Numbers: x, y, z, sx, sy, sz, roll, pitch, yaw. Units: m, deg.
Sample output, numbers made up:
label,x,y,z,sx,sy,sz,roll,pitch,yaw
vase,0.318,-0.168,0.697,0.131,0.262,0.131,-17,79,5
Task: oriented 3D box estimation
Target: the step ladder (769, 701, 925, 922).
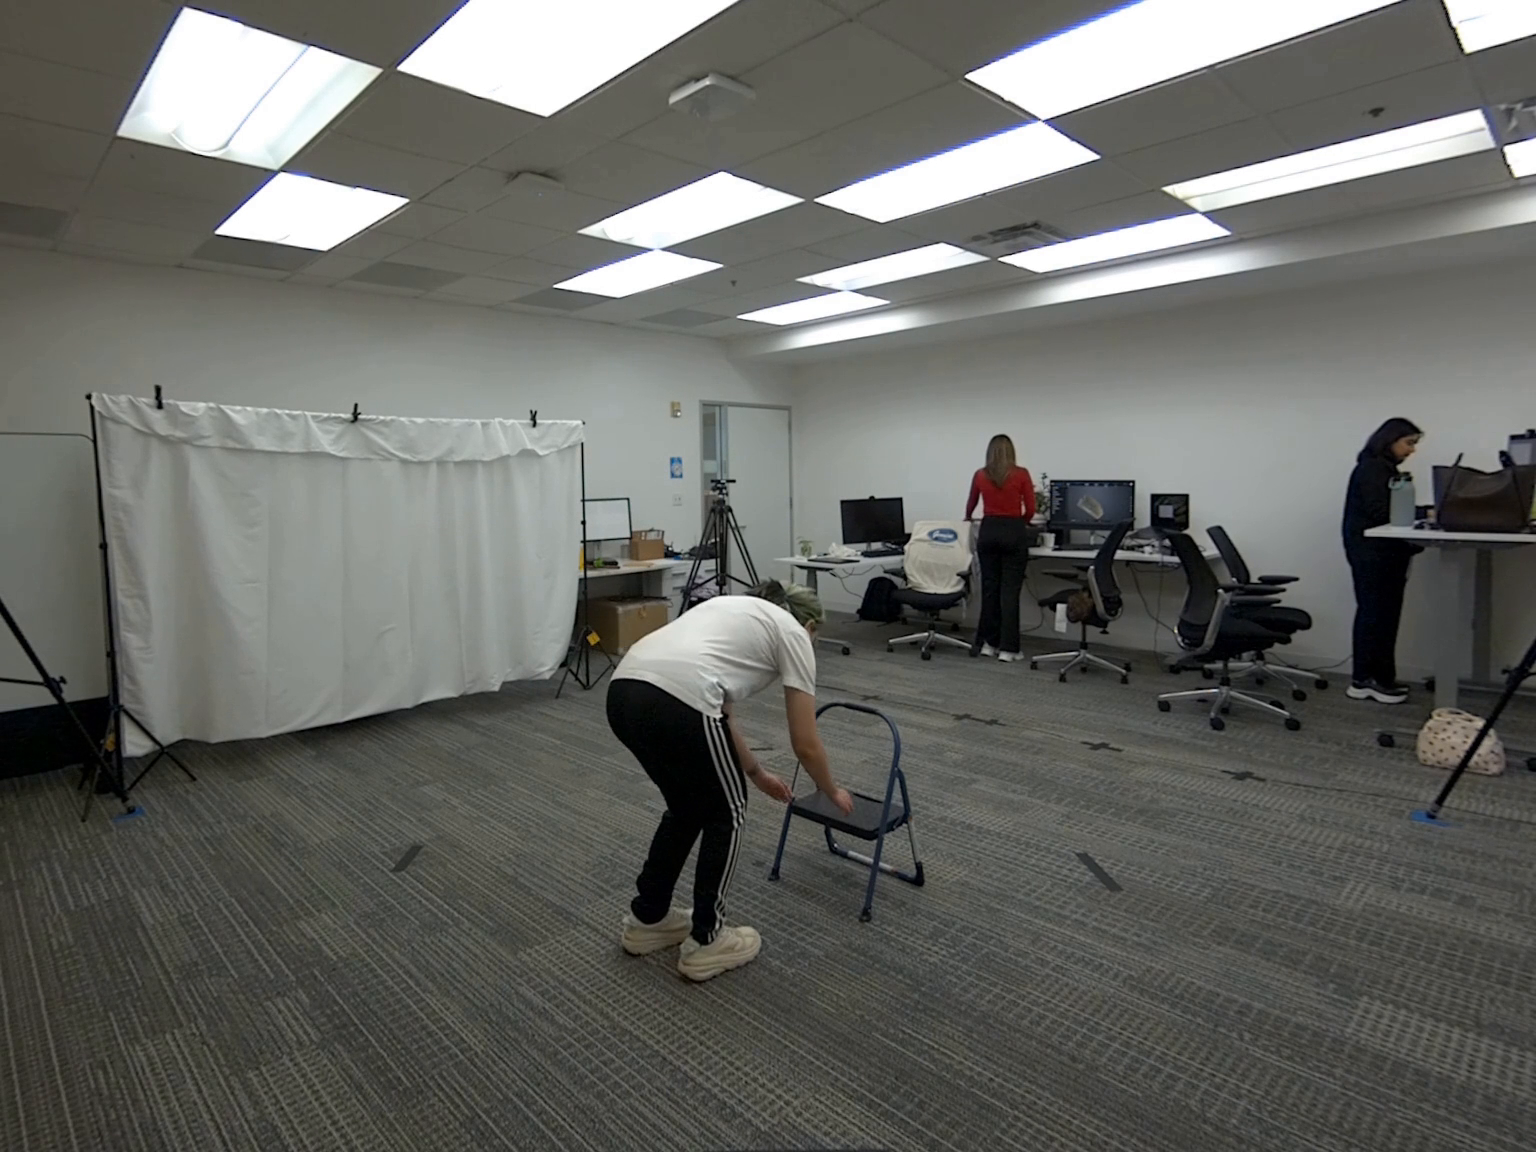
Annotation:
label,x,y,z,sx,sy,sz,roll,pitch,yaw
step ladder,0.267,0.756,2.937,0.444,0.604,0.340,4,7,45
